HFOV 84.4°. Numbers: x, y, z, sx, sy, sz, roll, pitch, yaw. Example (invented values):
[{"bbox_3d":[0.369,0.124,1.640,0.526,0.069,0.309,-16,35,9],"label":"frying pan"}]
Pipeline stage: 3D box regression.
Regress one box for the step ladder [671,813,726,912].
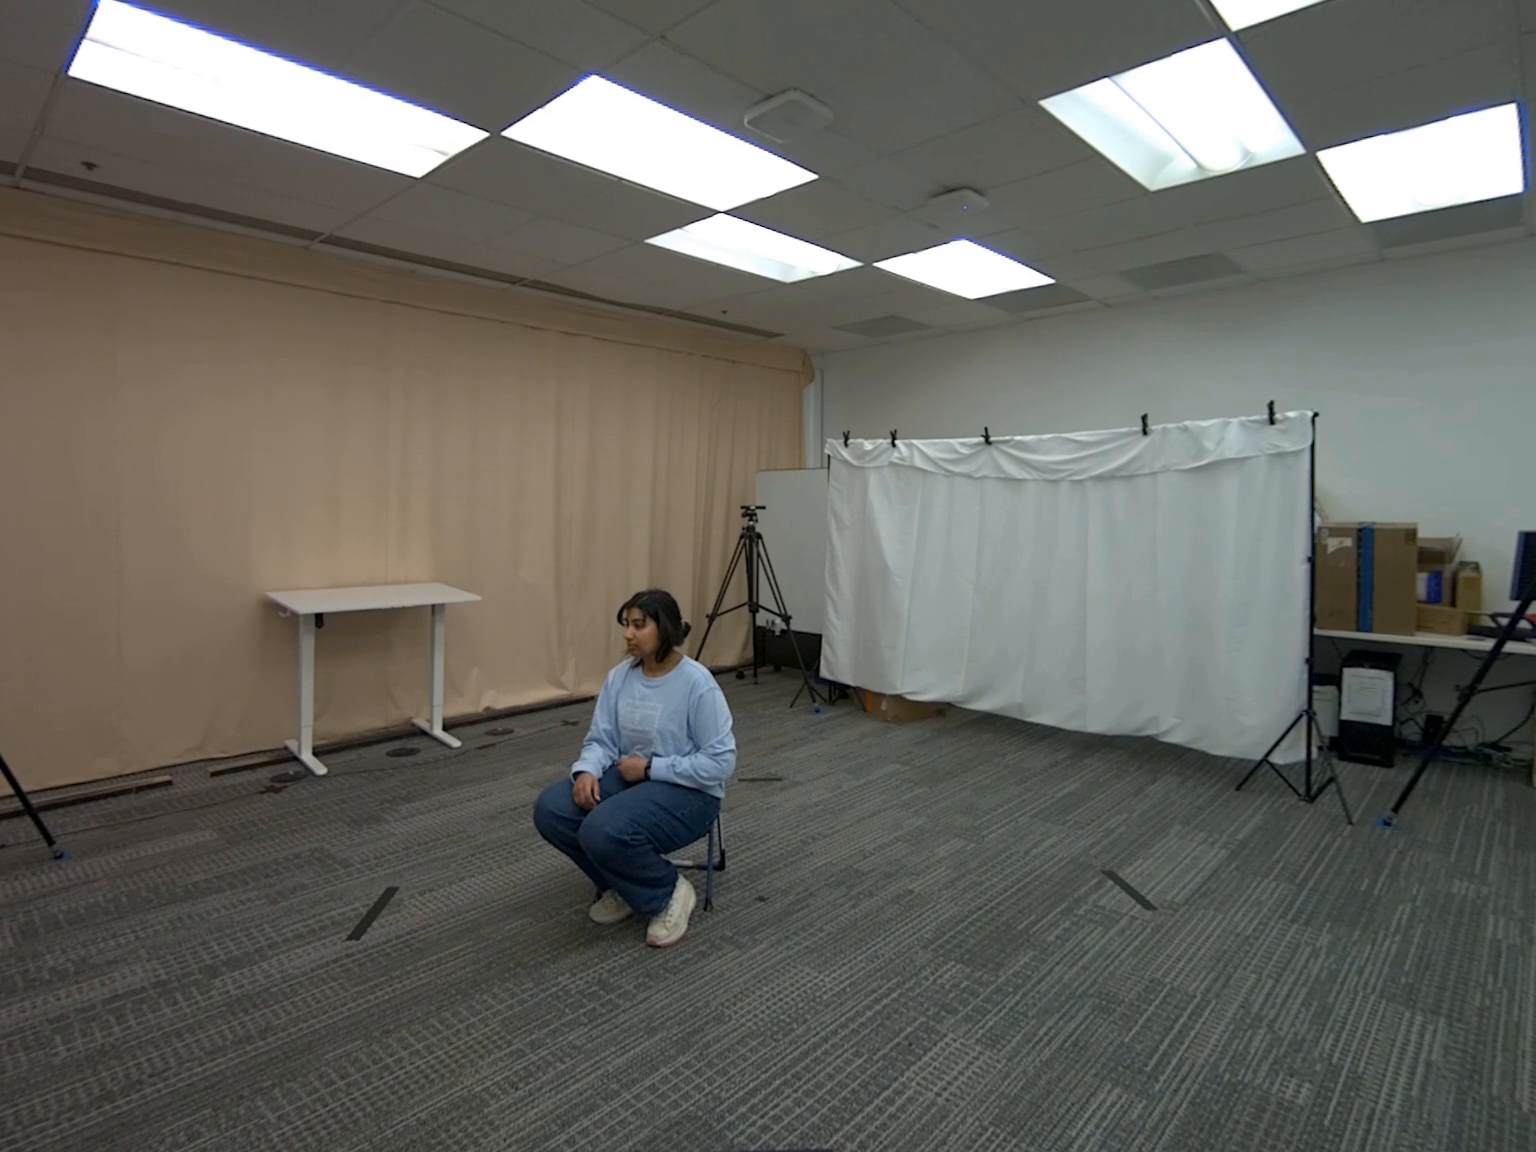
[{"bbox_3d":[-0.385,0.842,3.093,0.434,0.604,0.347,1,4,7],"label":"step ladder"}]
